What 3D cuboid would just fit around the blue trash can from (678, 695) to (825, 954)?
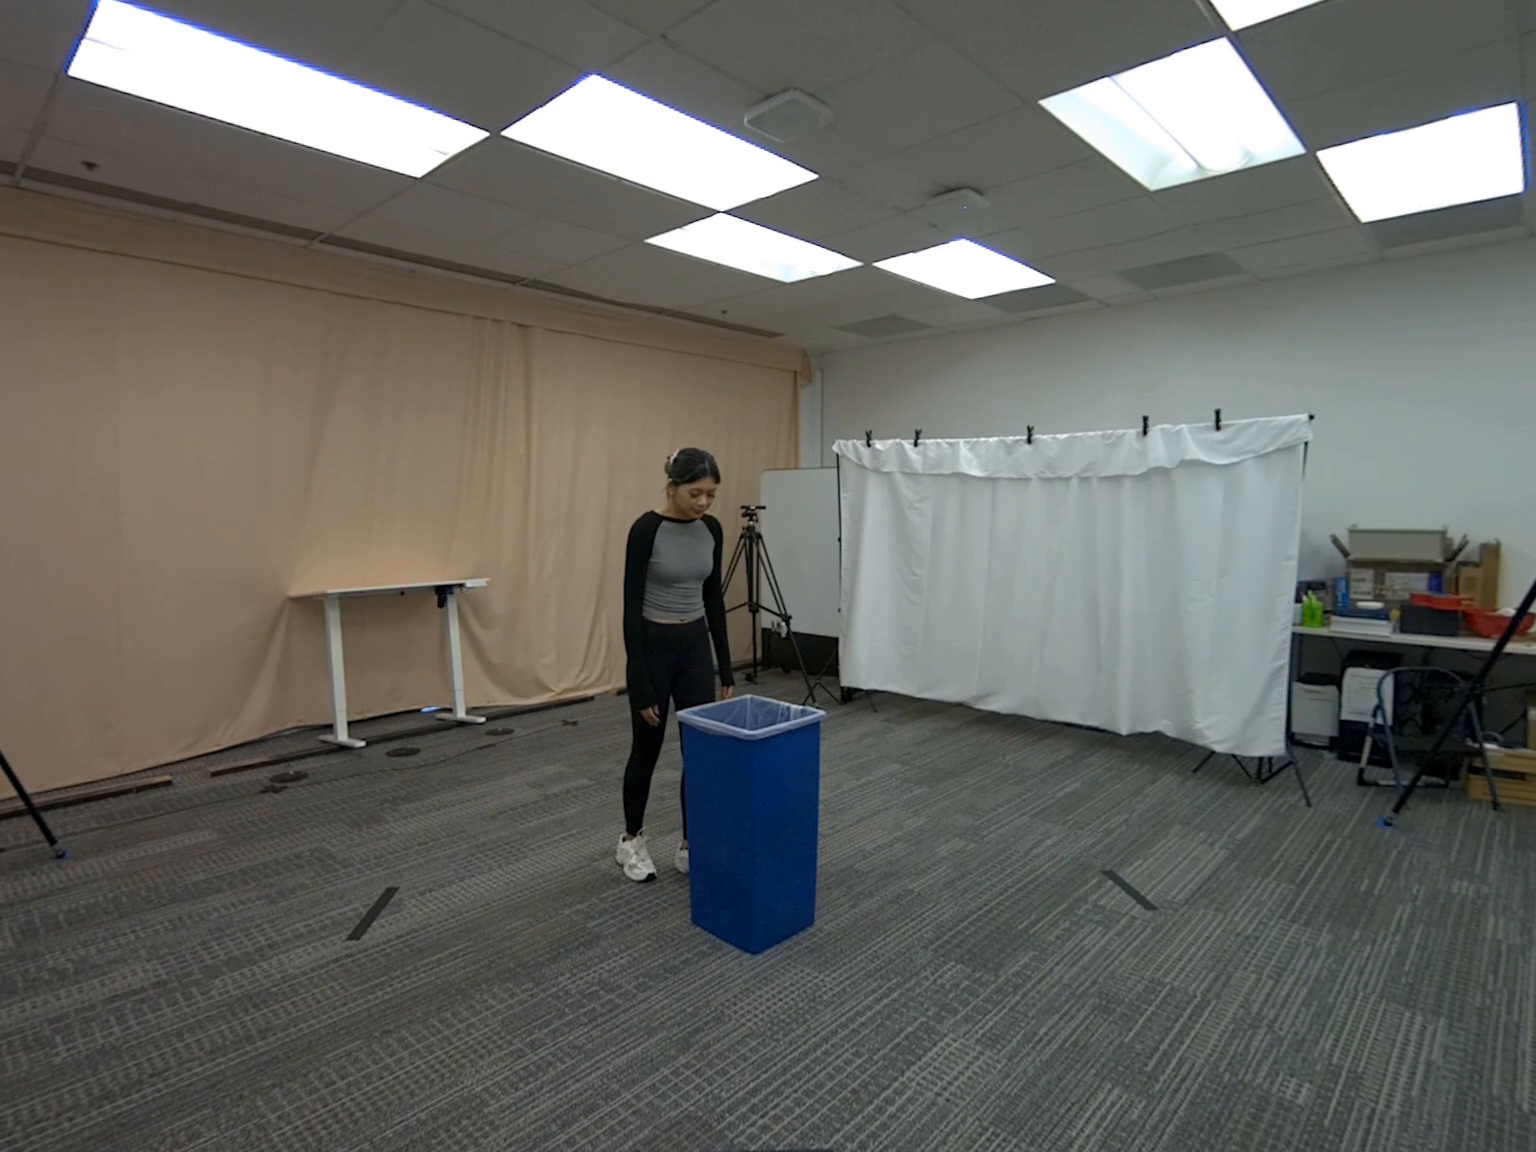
[{"bbox_3d":[-0.049,0.804,2.785,0.390,0.712,0.362,2,4,44],"label":"blue trash can"}]
